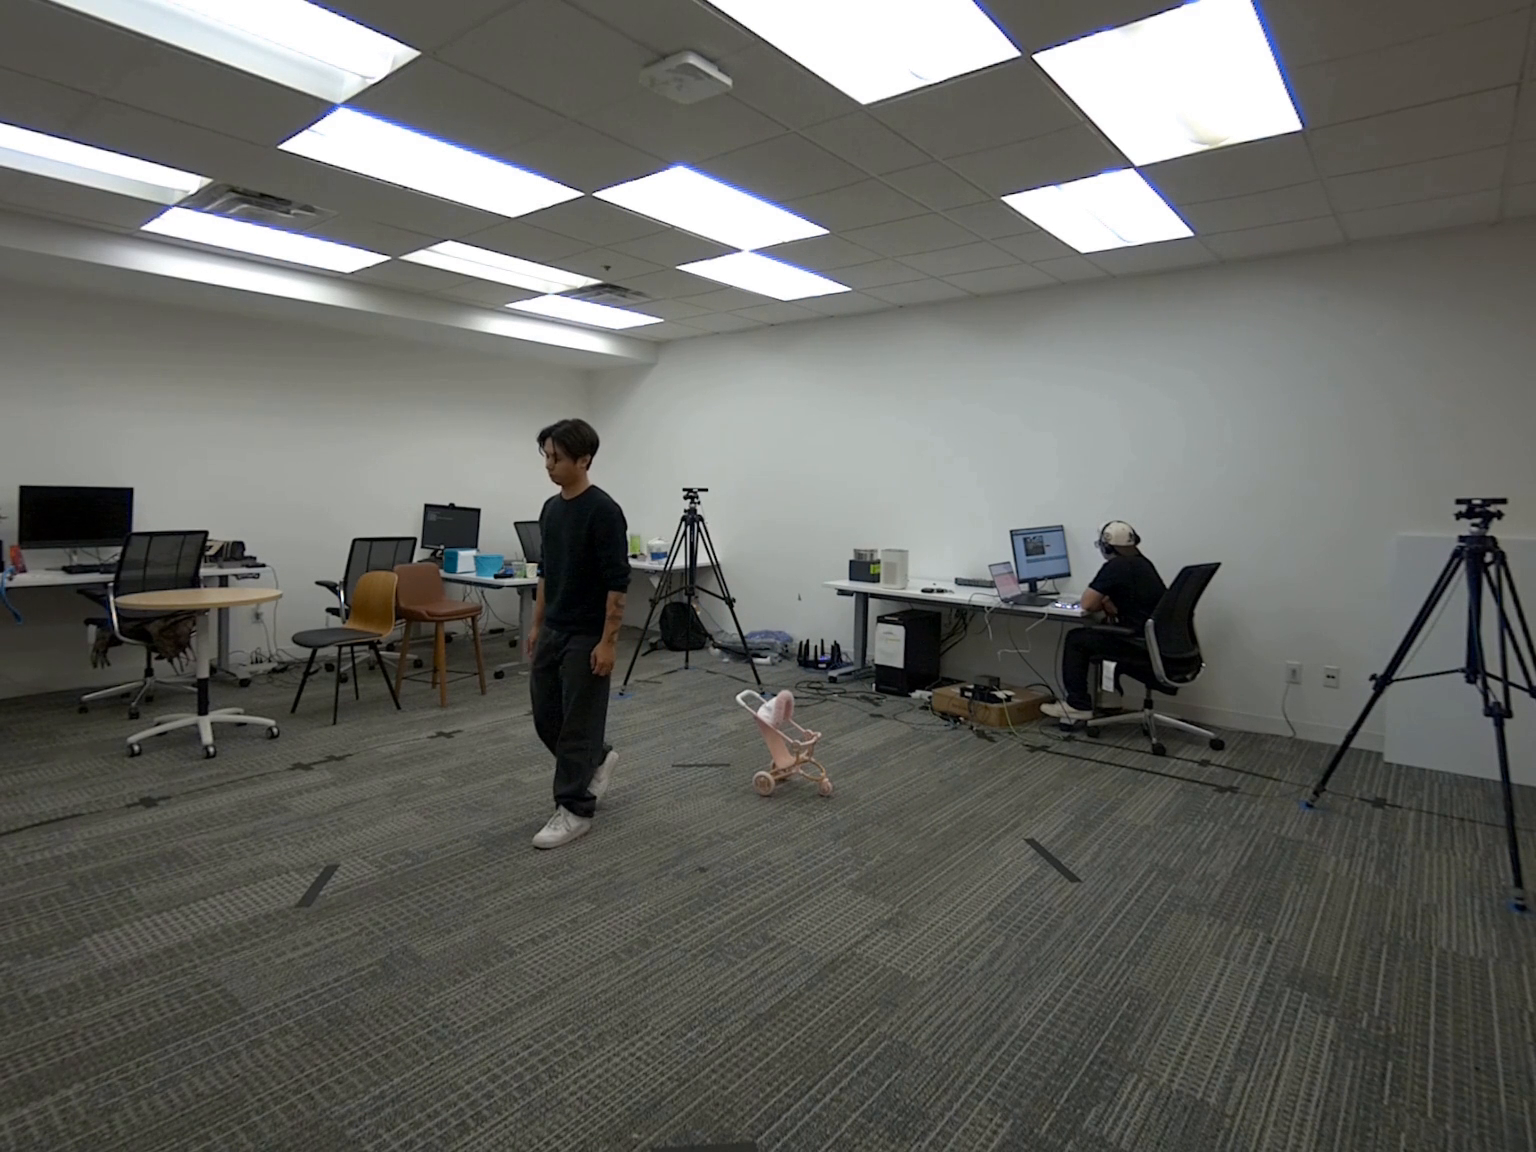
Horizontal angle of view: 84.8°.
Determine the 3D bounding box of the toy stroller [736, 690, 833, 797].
[{"bbox_3d":[0.076,0.773,3.956,0.347,0.538,0.275,-15,-5,26],"label":"toy stroller"}]
